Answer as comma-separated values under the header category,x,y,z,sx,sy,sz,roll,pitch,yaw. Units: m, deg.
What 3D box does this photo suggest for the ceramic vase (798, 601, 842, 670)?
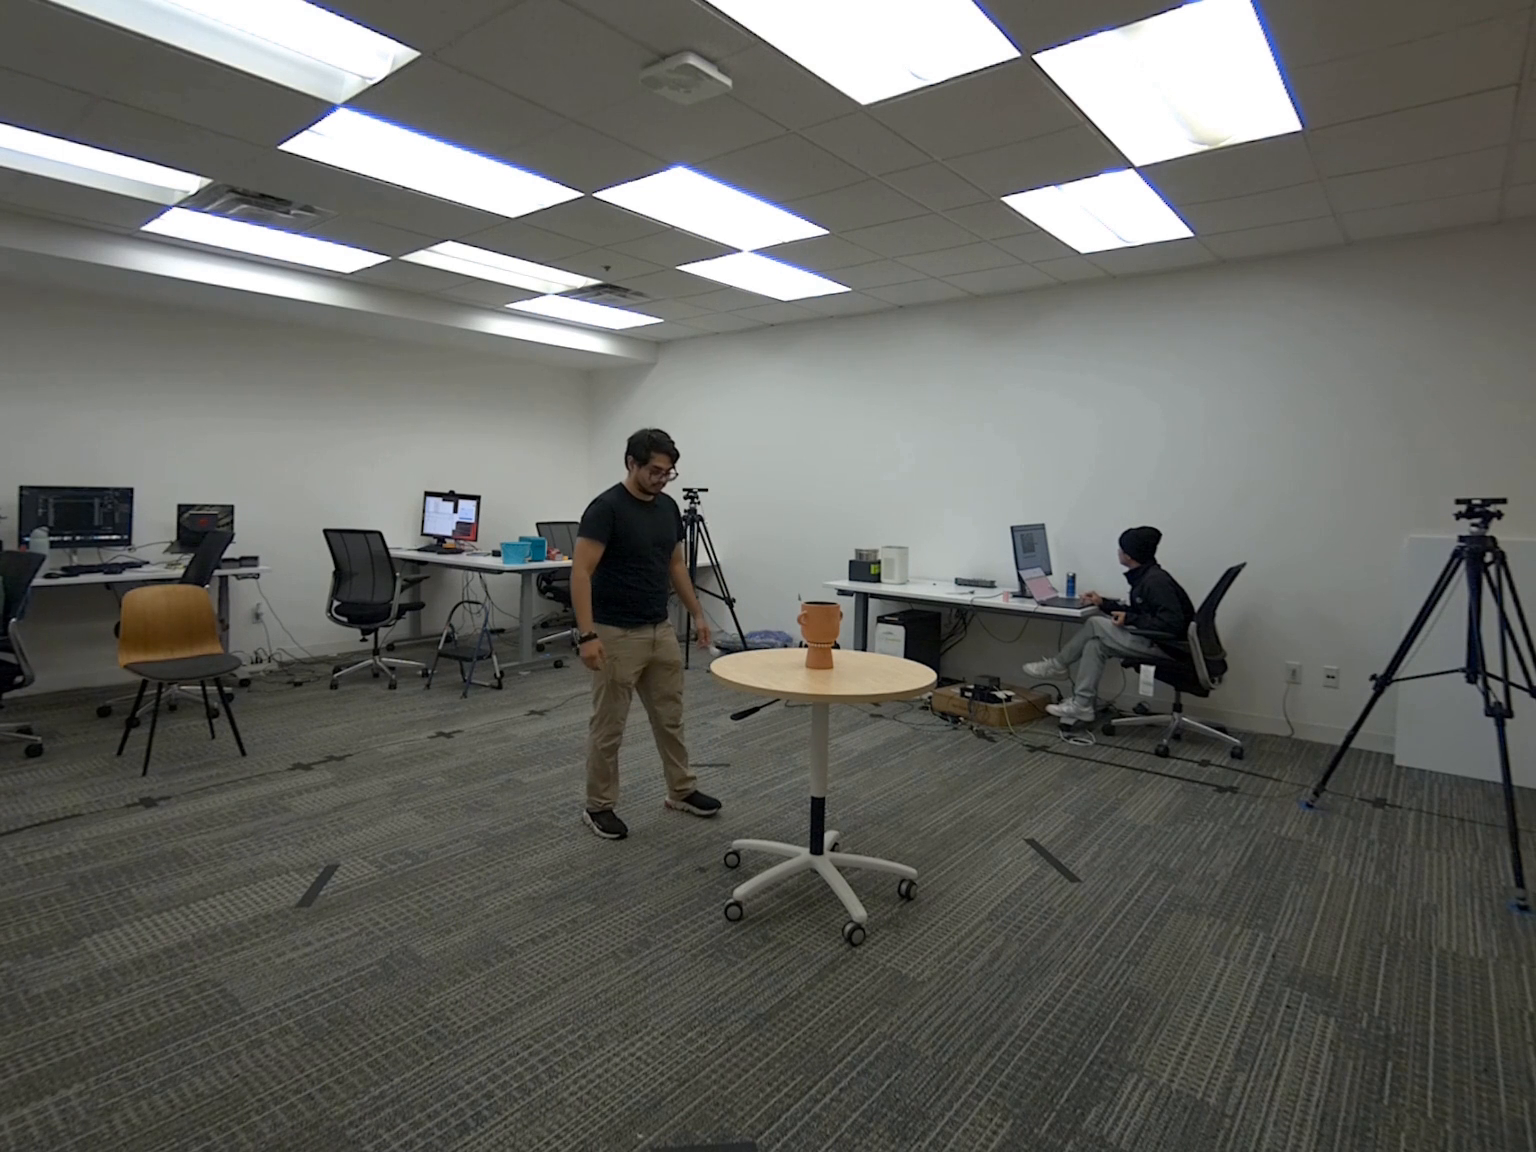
category,x,y,z,sx,sy,sz,roll,pitch,yaw
ceramic vase,0.181,0.204,2.938,0.160,0.219,0.134,2,2,5
